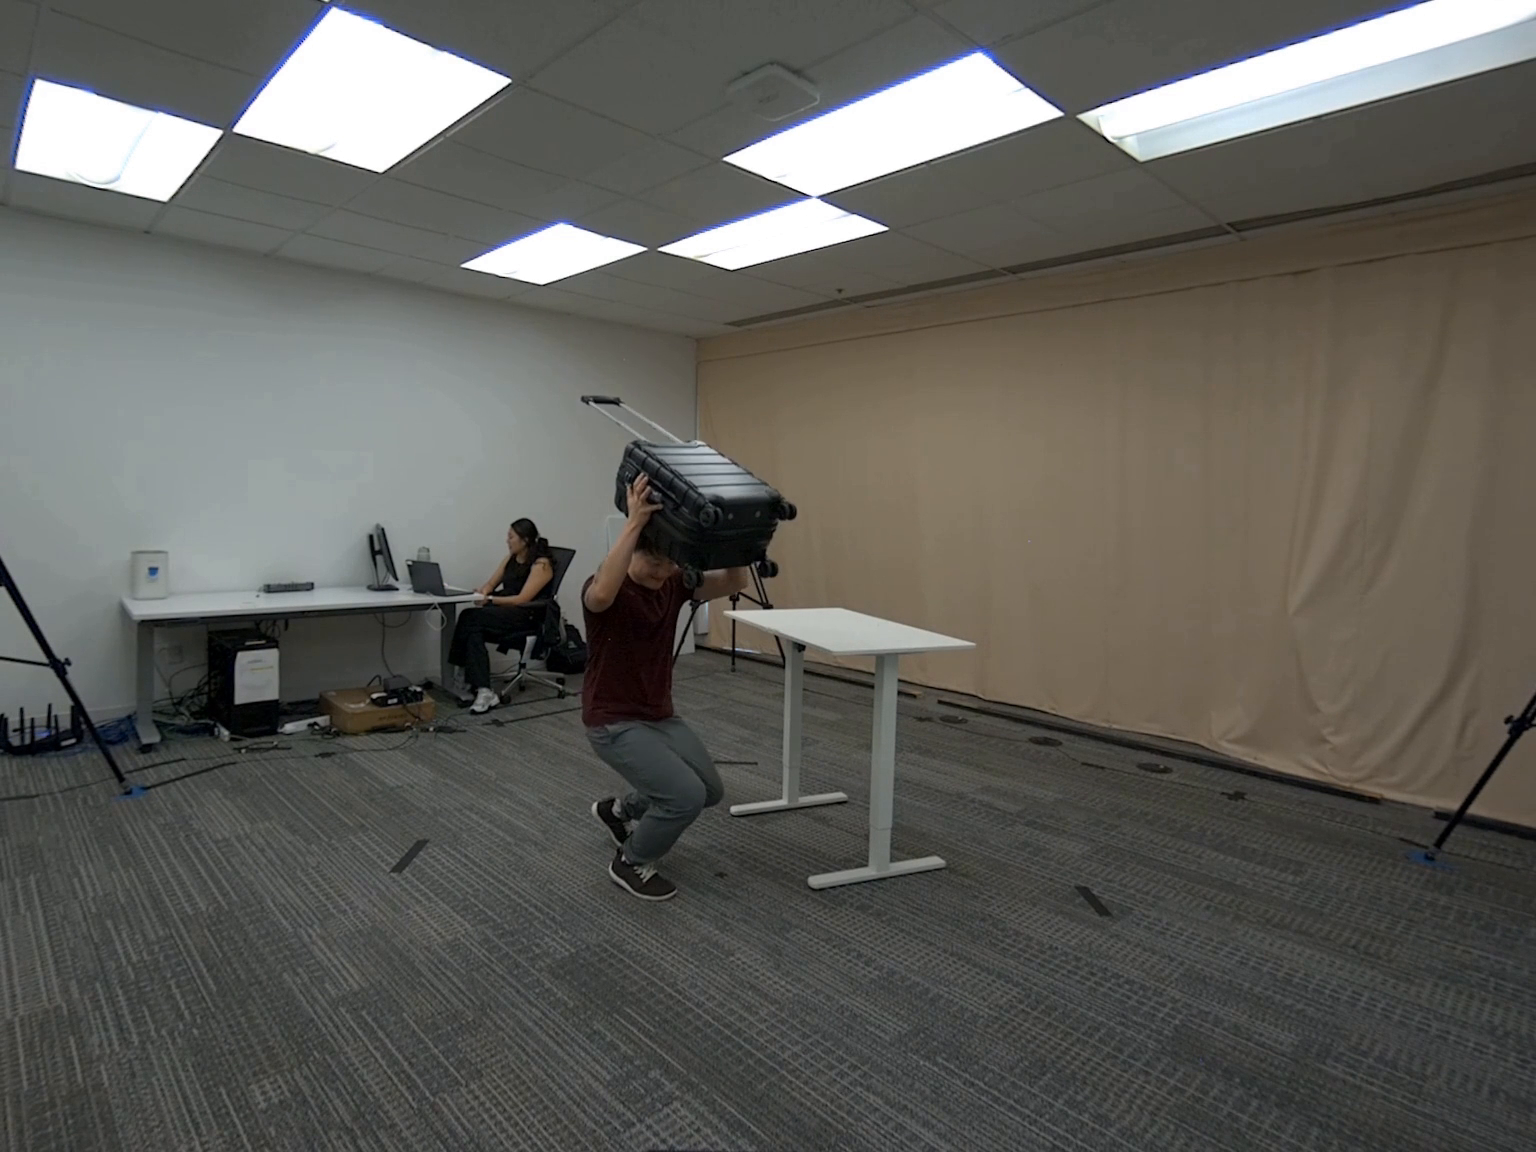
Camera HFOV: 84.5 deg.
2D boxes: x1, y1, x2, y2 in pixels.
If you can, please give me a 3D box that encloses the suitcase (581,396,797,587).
[{"bbox_3d":[-0.359,-0.330,2.837,0.376,0.254,1.010,-6,32,-39],"label":"suitcase"}]
